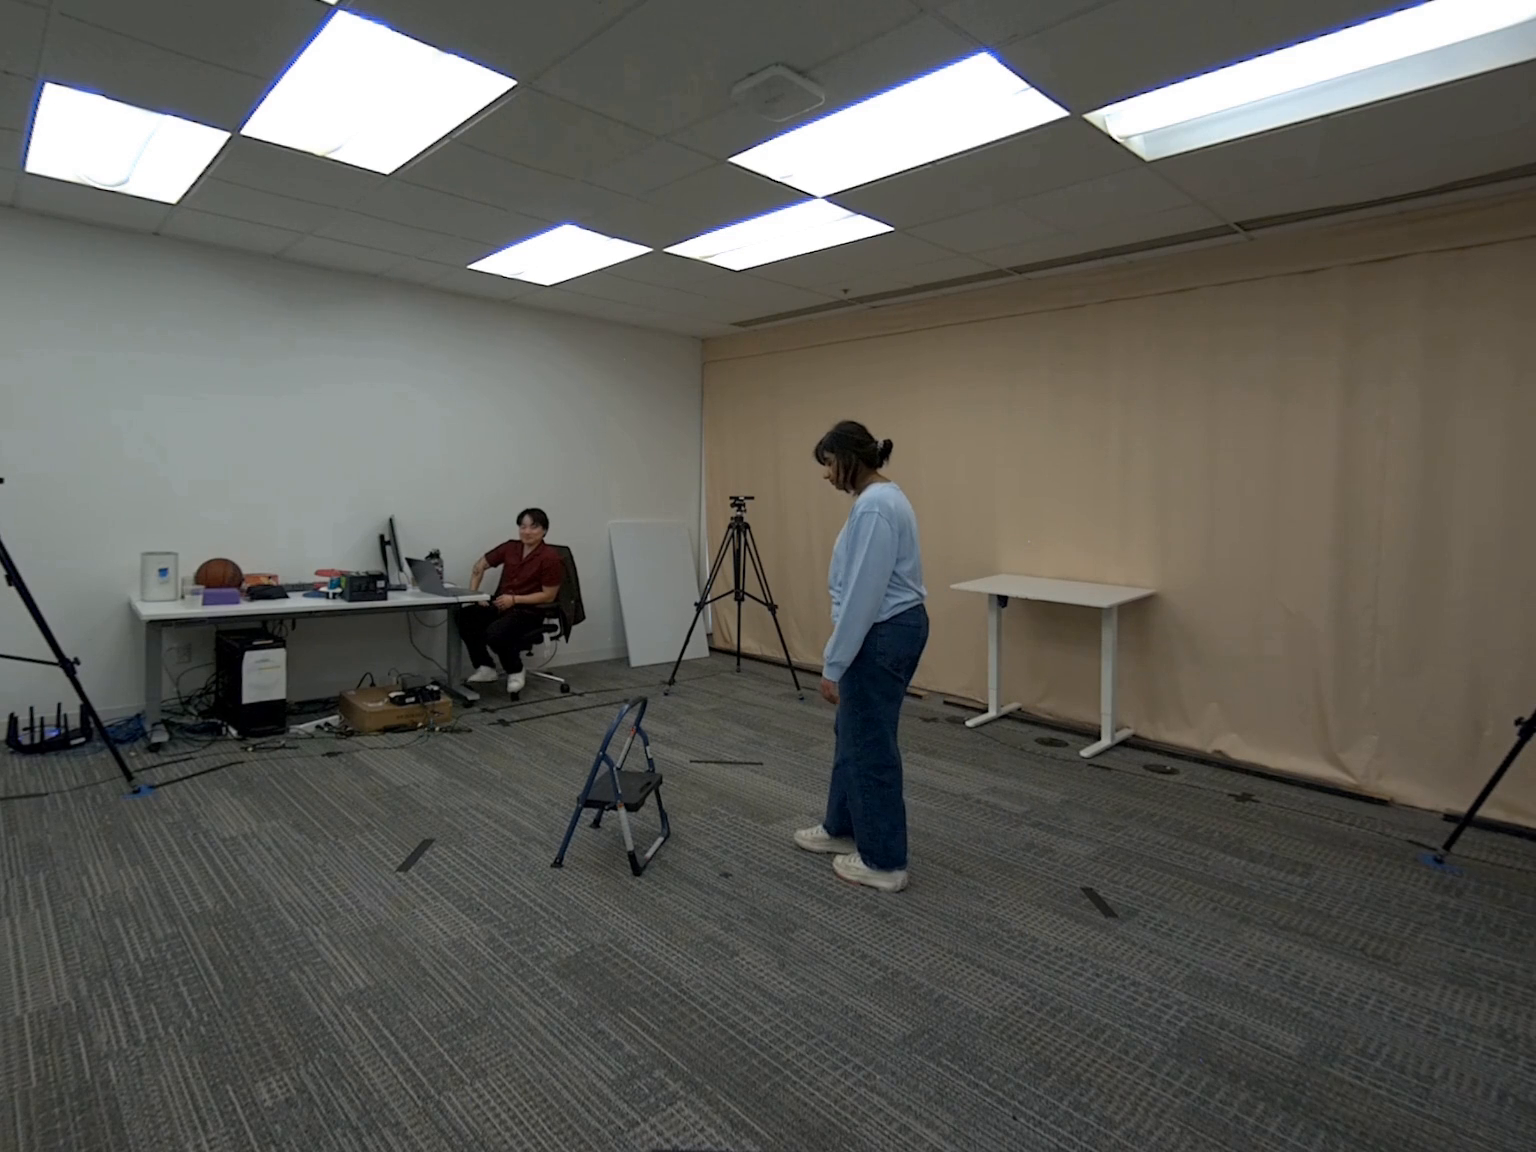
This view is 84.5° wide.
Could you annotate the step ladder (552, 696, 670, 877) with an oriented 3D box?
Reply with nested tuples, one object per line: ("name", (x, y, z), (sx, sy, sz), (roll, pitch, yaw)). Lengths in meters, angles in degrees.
("step ladder", (-0.600, 0.770, 3.291), (0.352, 0.604, 0.428), (2, 4, 10))
